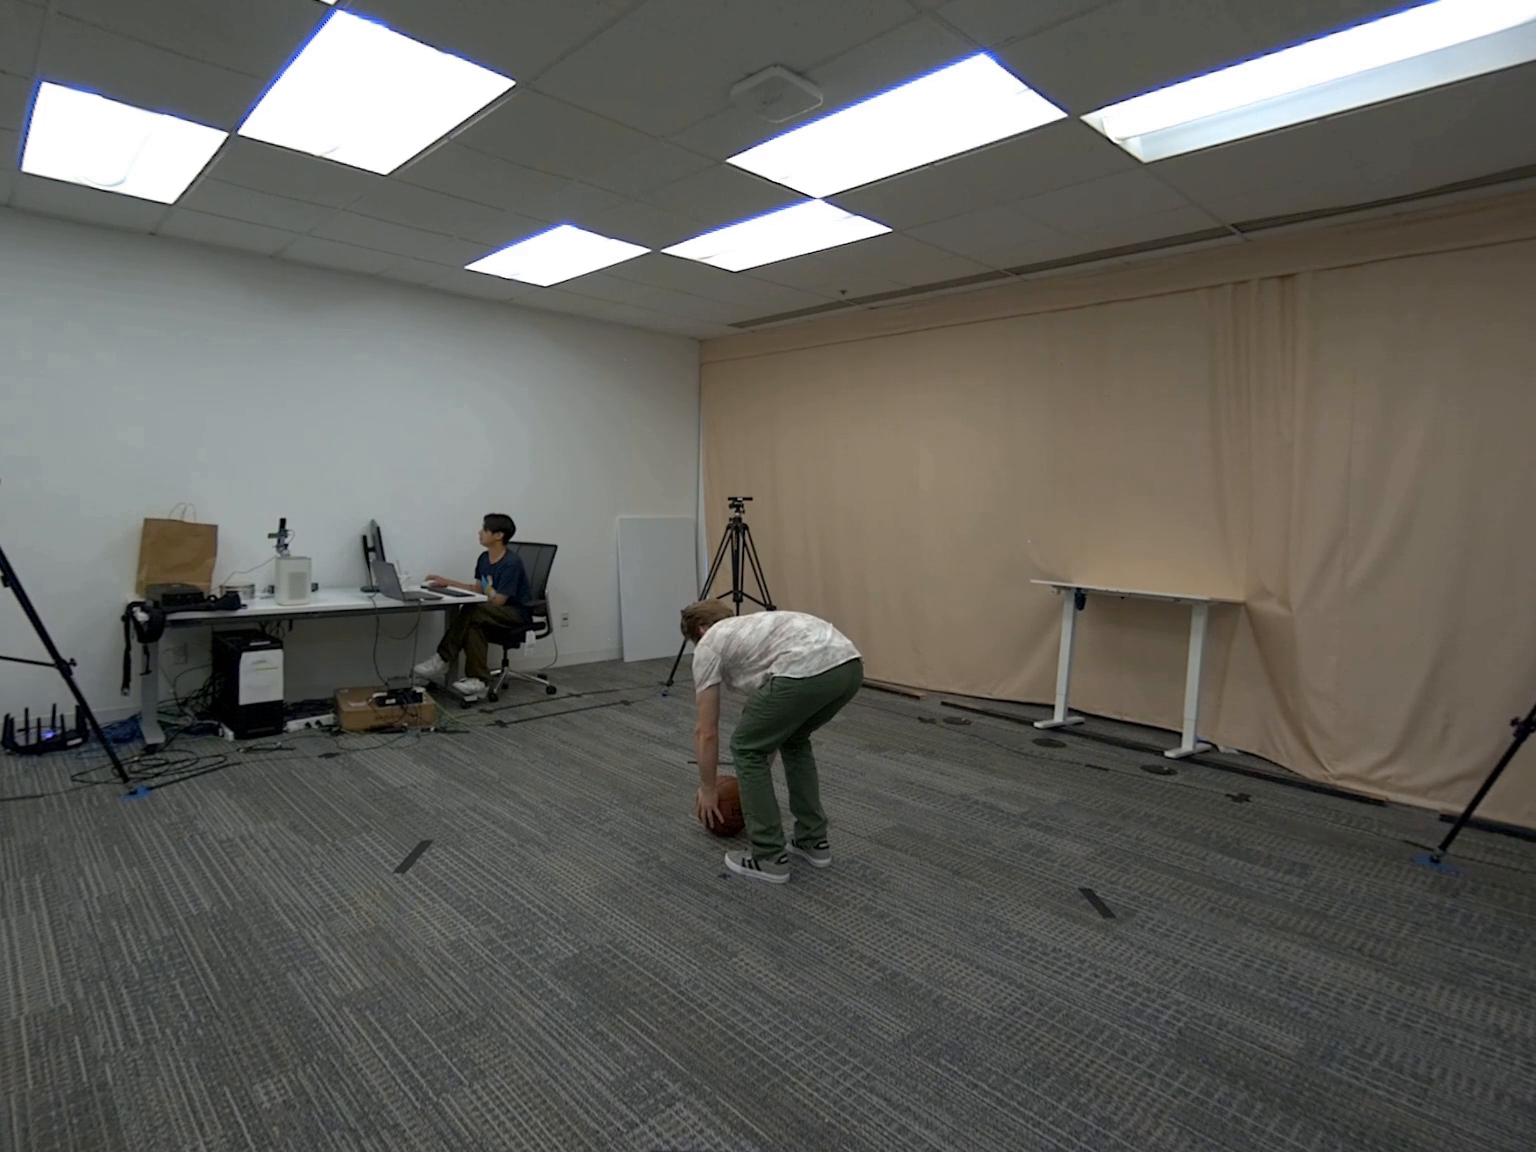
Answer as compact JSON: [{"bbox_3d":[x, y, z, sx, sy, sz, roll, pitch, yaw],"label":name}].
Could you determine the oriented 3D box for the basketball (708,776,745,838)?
[{"bbox_3d":[-0.181,0.945,3.499,0.236,0.235,0.237,1,4,-1],"label":"basketball"}]
